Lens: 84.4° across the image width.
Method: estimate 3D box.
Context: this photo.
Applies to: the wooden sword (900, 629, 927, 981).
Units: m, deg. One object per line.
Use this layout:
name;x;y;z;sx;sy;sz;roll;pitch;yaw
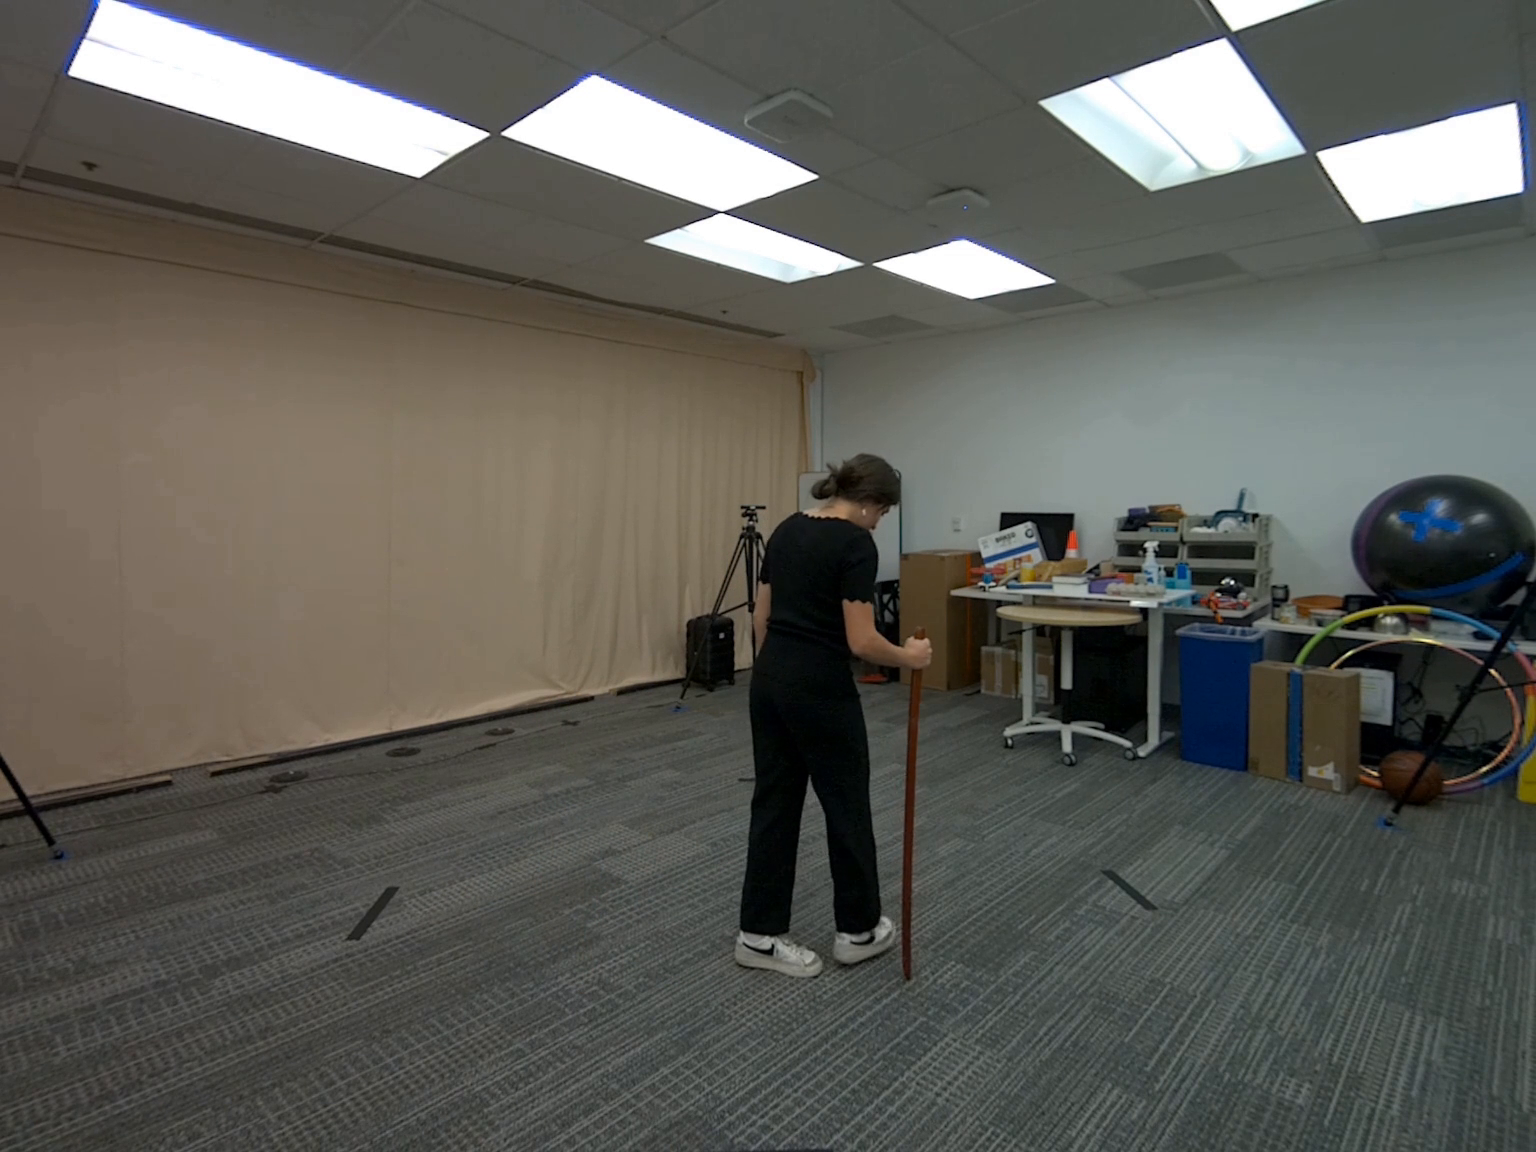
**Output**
wooden sword;0.431;0.692;2.493;0.024;1.028;0.051;3;-5;-7
